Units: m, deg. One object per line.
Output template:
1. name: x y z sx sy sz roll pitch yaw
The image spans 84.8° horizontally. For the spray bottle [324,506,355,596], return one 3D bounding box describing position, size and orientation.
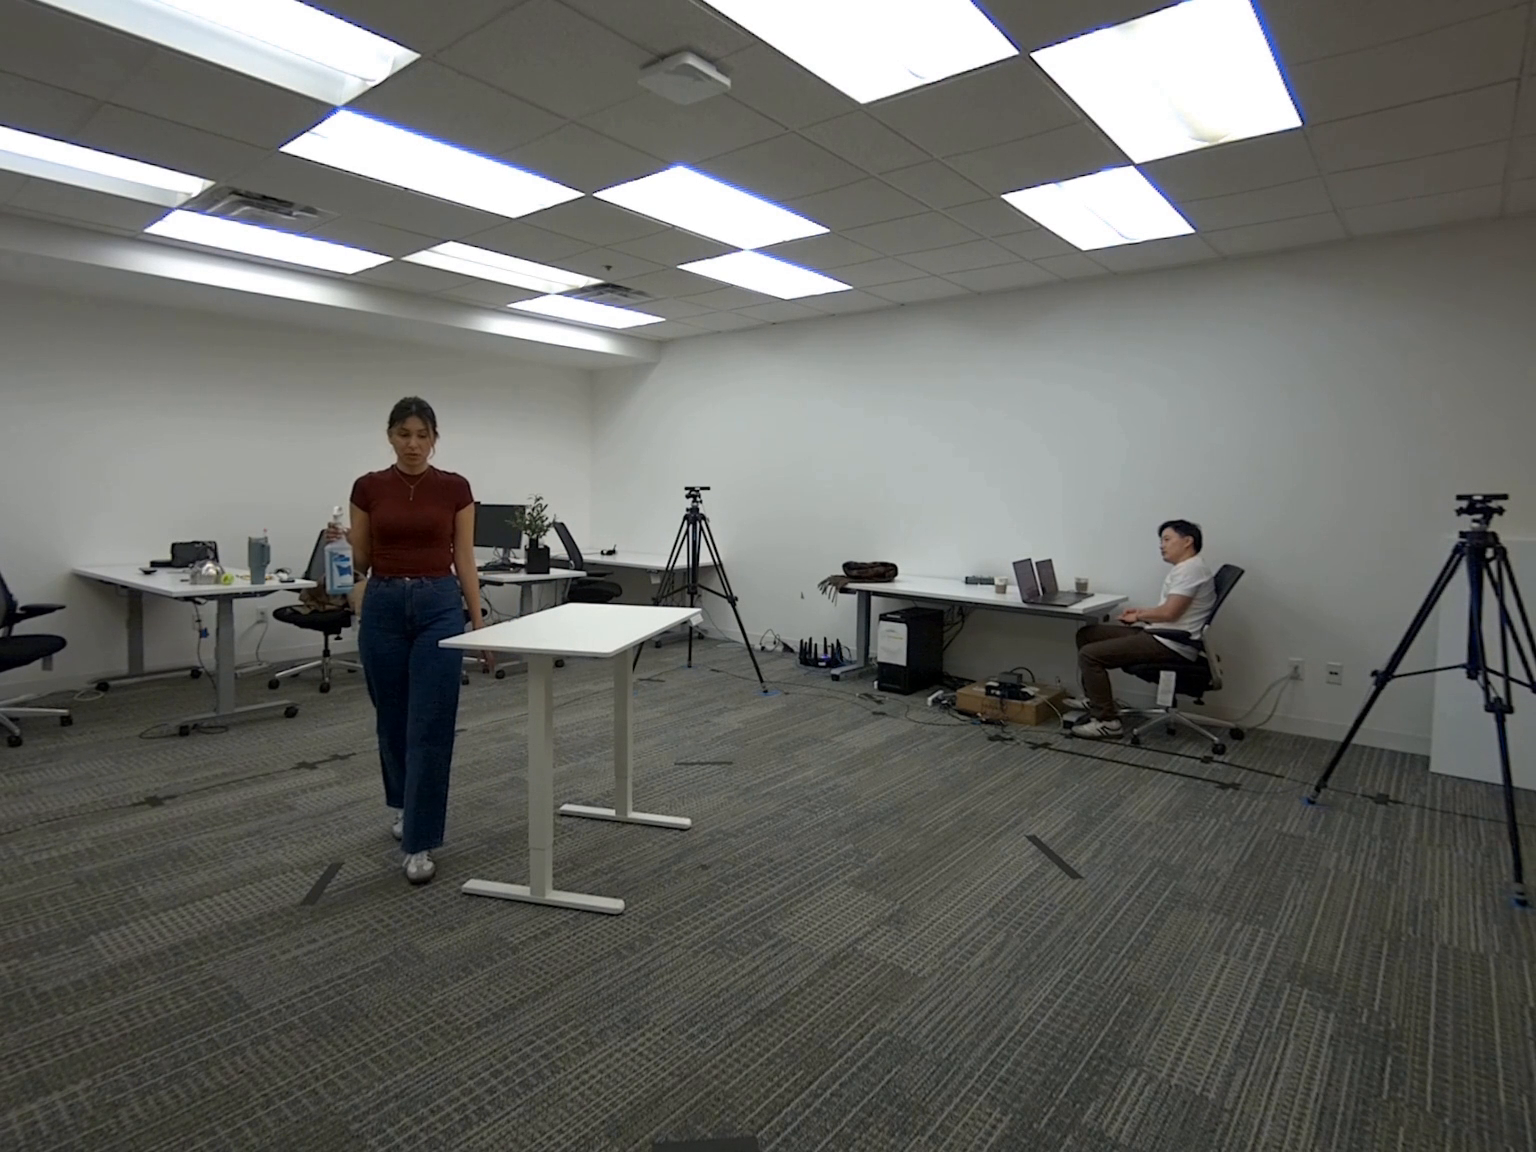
1. spray bottle: -1.486 -0.093 2.897 0.088 0.298 0.089 -2 -2 10
